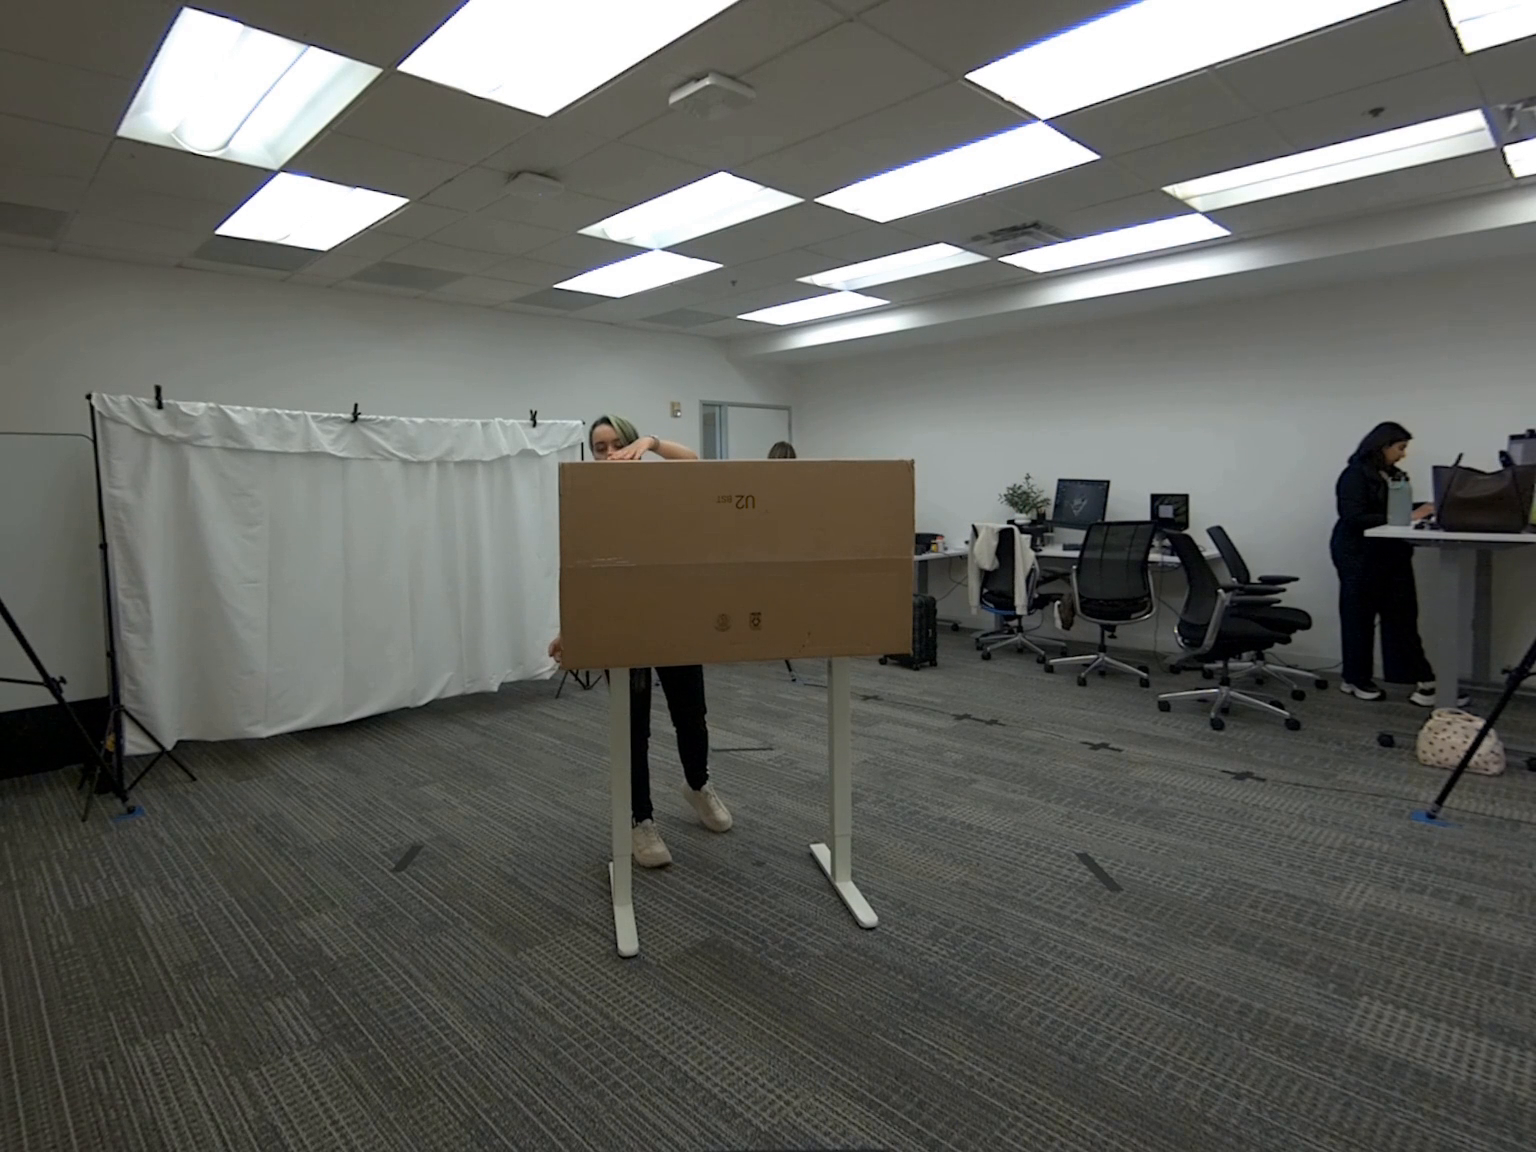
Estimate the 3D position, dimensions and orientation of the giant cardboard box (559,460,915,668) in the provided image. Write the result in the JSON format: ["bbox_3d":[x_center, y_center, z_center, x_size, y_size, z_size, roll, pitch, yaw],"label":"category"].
[{"bbox_3d":[-0.111,-0.067,2.622,1.016,0.581,0.453,-2,5,-11],"label":"giant cardboard box"}]
